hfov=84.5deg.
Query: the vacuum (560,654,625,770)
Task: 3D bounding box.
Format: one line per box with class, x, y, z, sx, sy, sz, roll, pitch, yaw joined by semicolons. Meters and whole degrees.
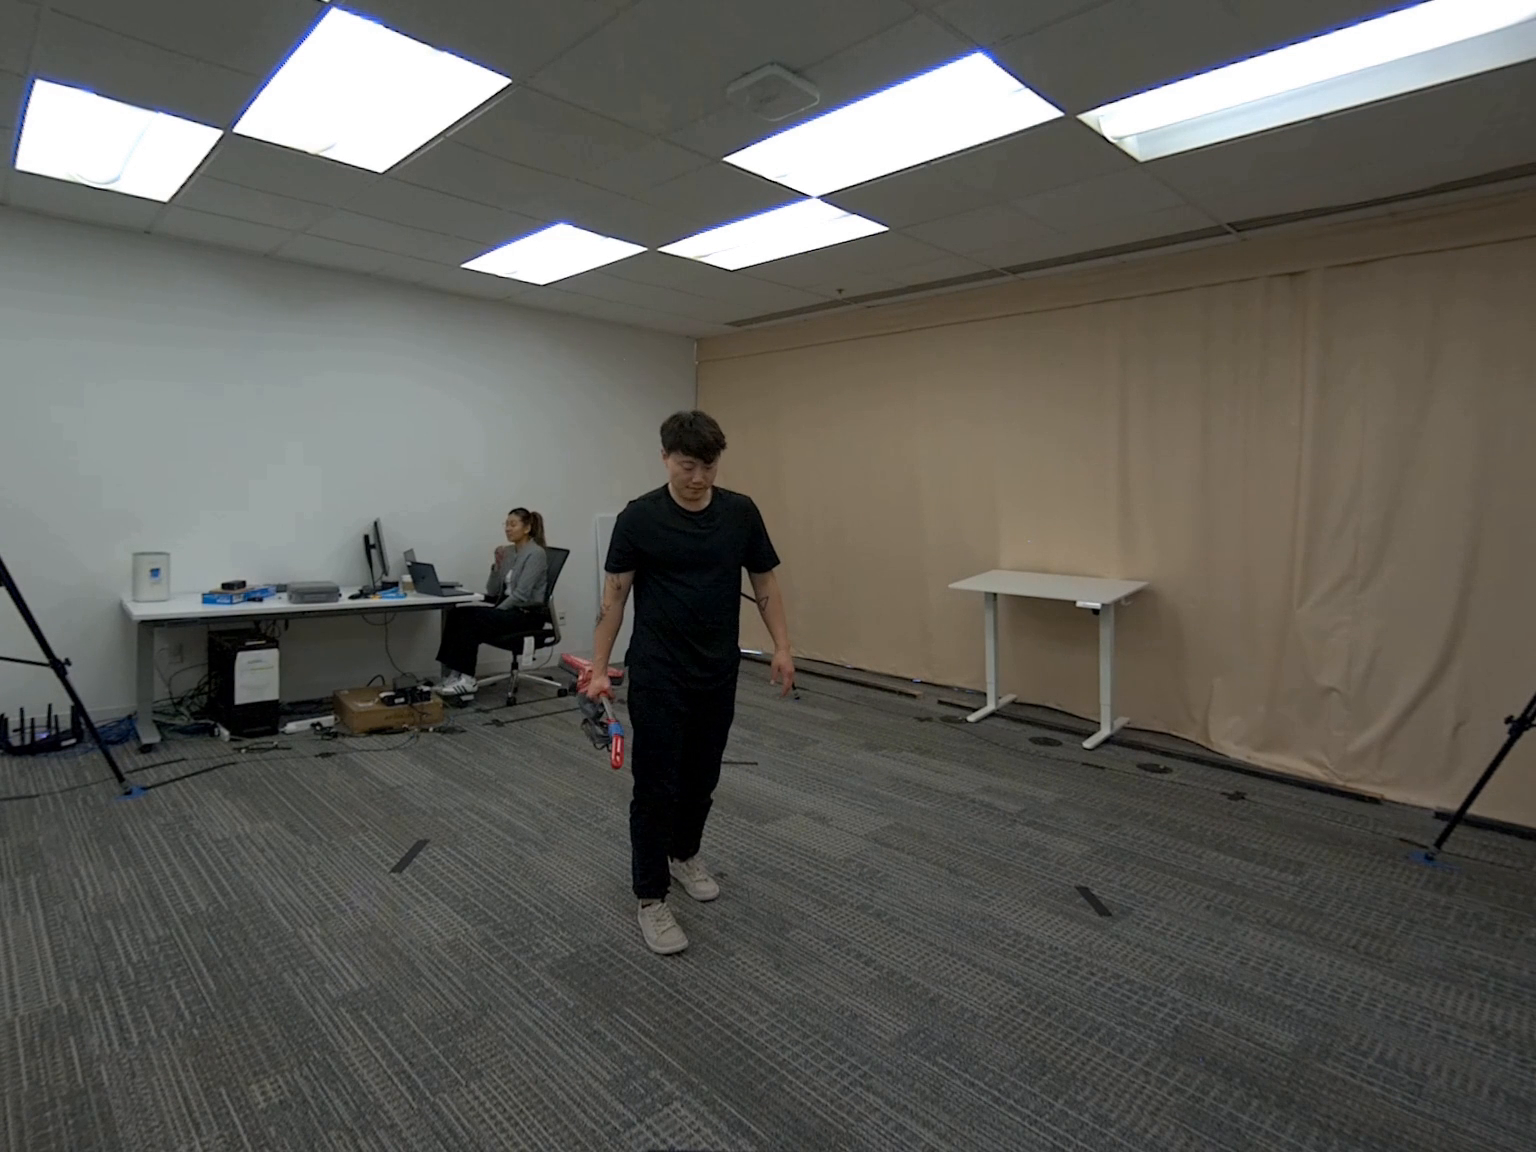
vacuum;-0.528;0.437;2.600;0.249;0.144;1.063;17;1;-15
